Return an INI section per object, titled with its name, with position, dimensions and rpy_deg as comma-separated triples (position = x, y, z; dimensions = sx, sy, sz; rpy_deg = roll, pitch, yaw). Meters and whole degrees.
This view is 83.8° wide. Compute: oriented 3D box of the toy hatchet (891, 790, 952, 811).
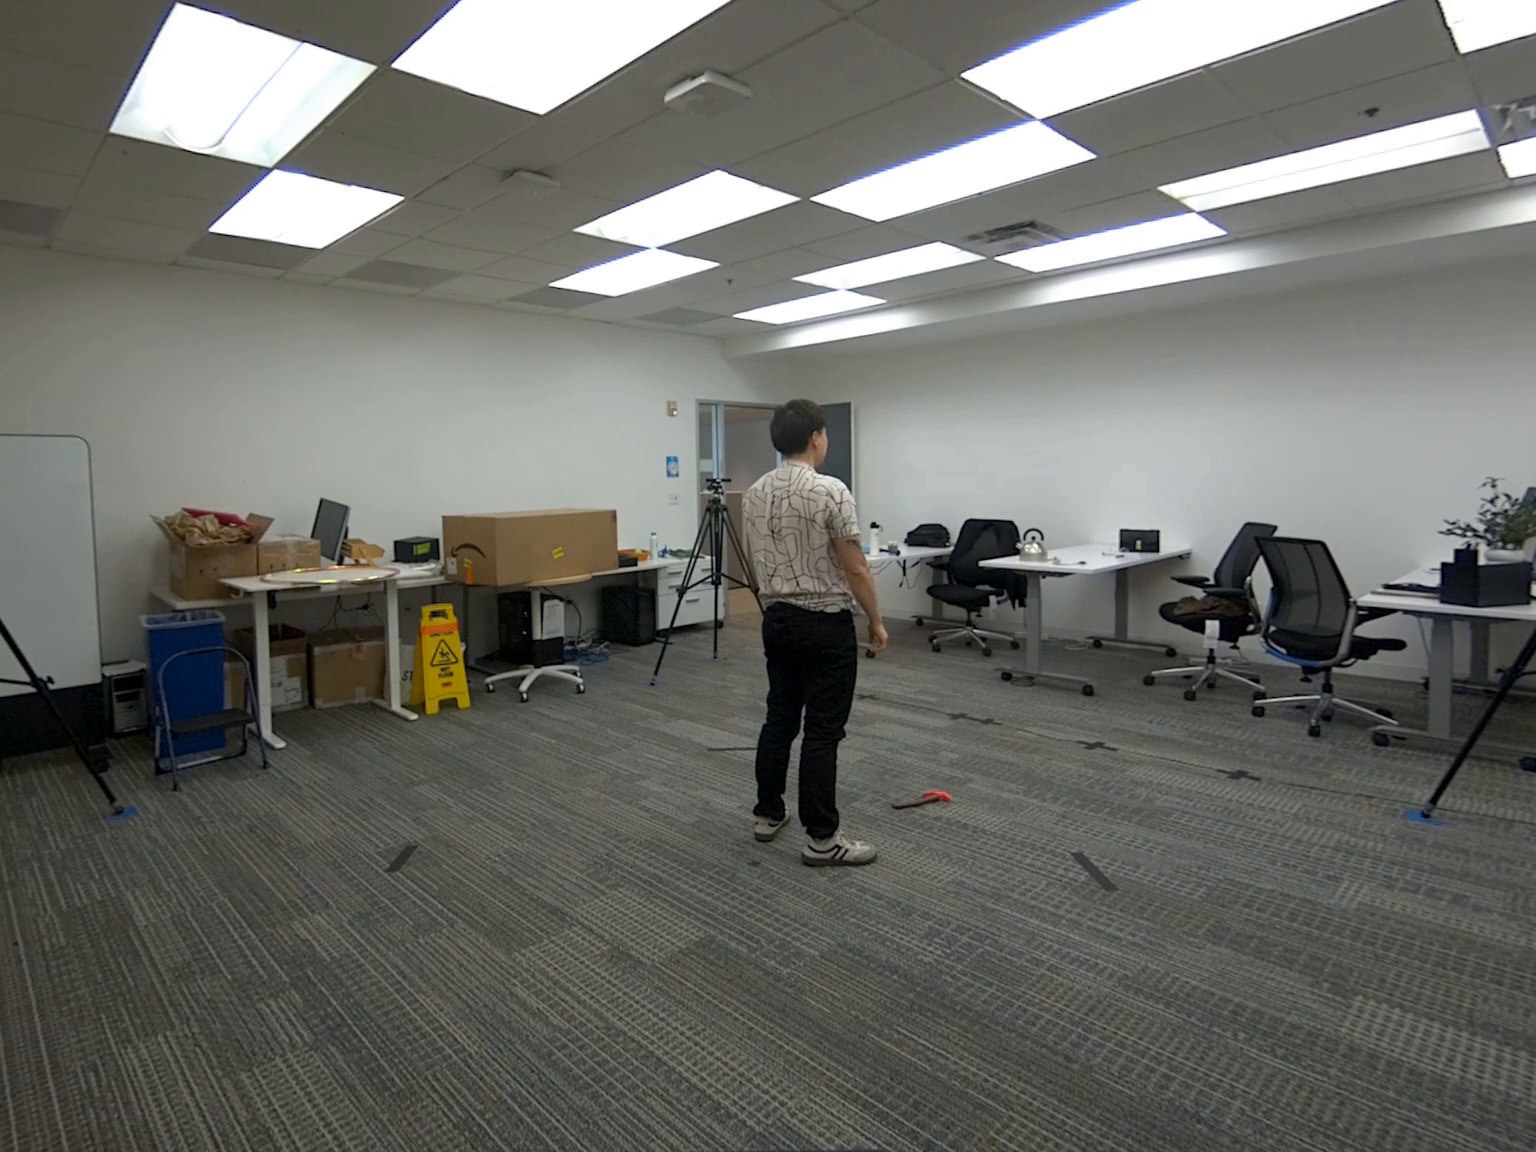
[toy hatchet]
position = 0.647, 0.960, 3.682
dimensions = 0.267, 0.029, 0.133
rpy_deg = -4, 7, -14
